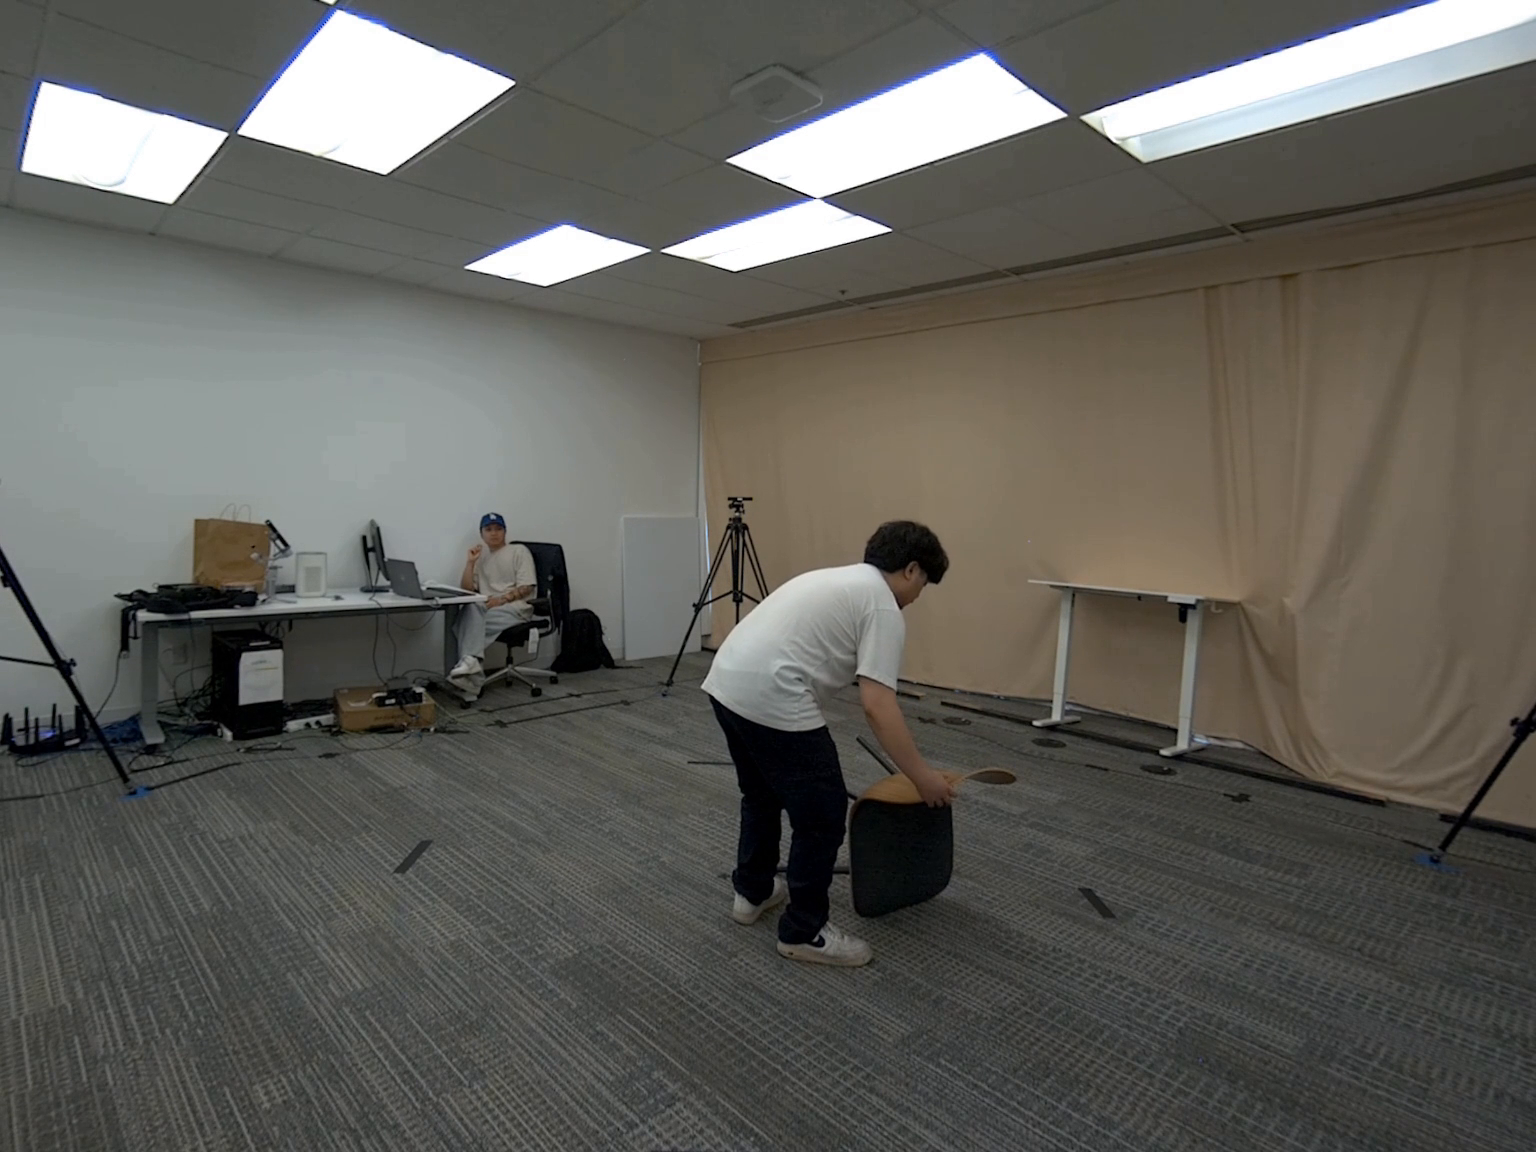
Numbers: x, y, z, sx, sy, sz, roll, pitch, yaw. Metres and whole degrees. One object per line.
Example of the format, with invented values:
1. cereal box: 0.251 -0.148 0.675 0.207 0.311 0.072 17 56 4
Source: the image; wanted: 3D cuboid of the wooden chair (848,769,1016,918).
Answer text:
1. wooden chair: 0.429 0.883 2.909 0.468 0.525 0.894 0 -4 -35
